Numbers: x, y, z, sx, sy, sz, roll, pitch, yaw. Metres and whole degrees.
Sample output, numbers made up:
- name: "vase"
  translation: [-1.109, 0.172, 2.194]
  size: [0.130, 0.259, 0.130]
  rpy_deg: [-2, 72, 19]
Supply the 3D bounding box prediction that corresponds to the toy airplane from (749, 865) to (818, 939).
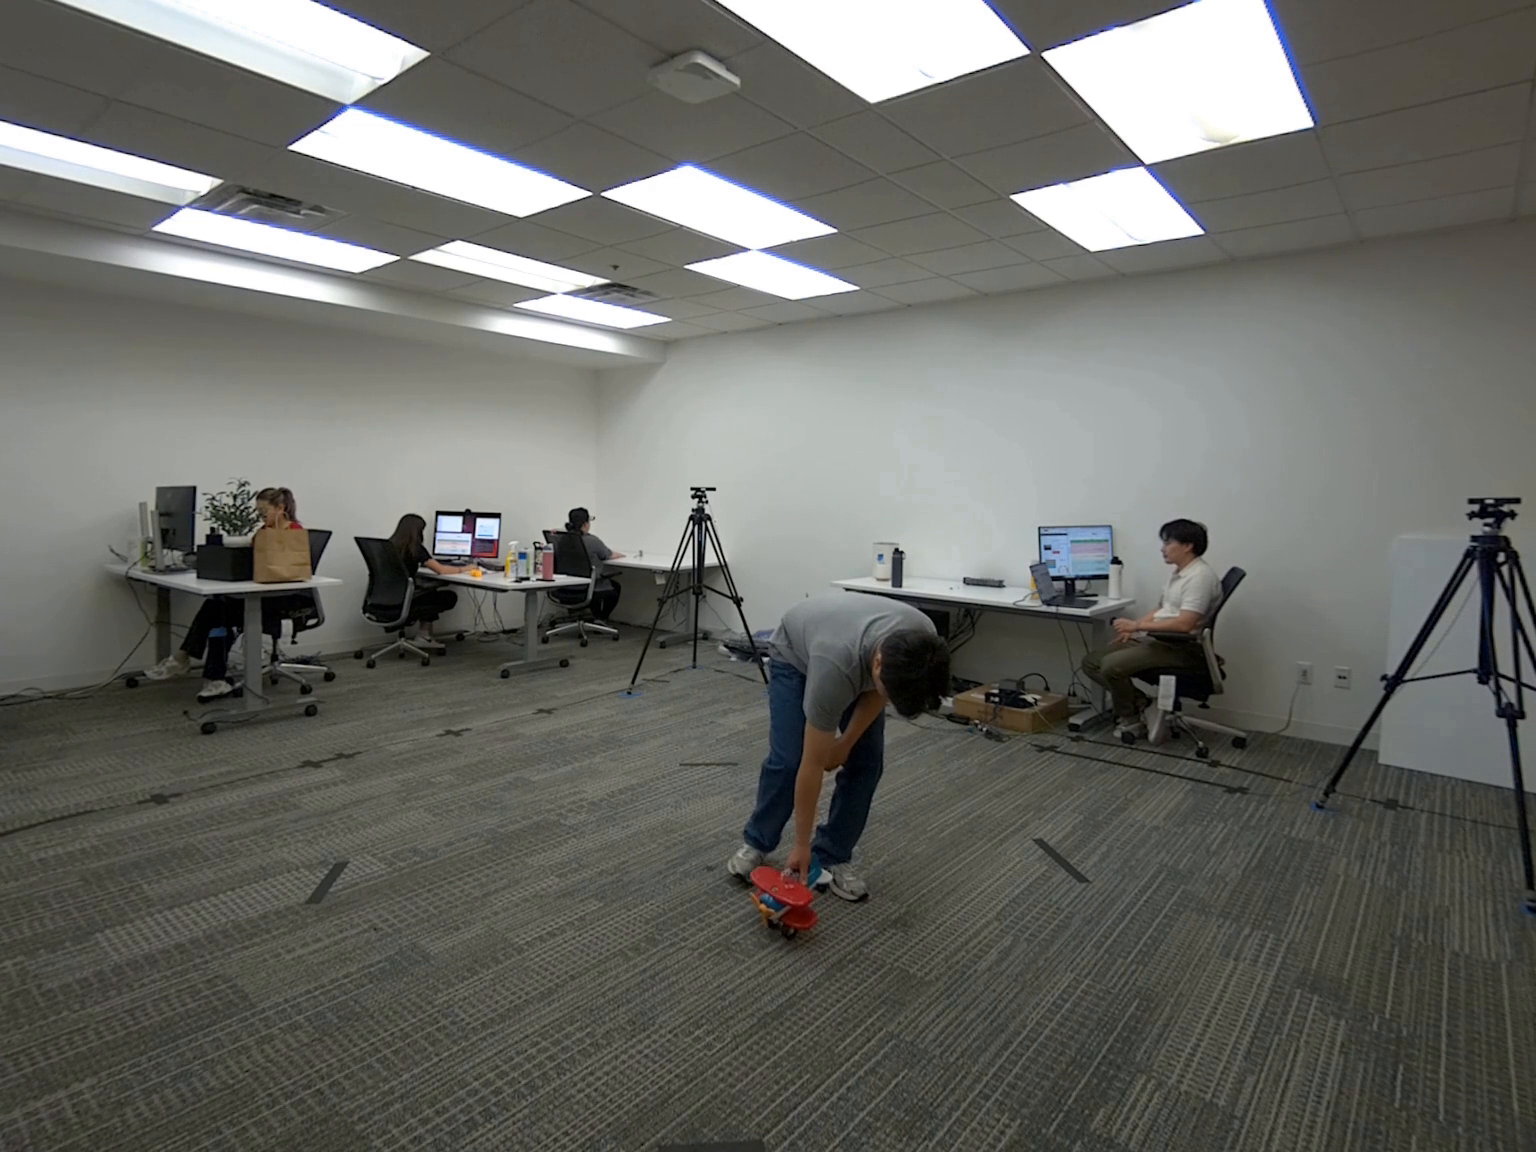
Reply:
- name: "toy airplane"
  translation: [0.054, 1.003, 2.705]
  size: [0.256, 0.152, 0.261]
  rpy_deg: [-11, 27, 27]
